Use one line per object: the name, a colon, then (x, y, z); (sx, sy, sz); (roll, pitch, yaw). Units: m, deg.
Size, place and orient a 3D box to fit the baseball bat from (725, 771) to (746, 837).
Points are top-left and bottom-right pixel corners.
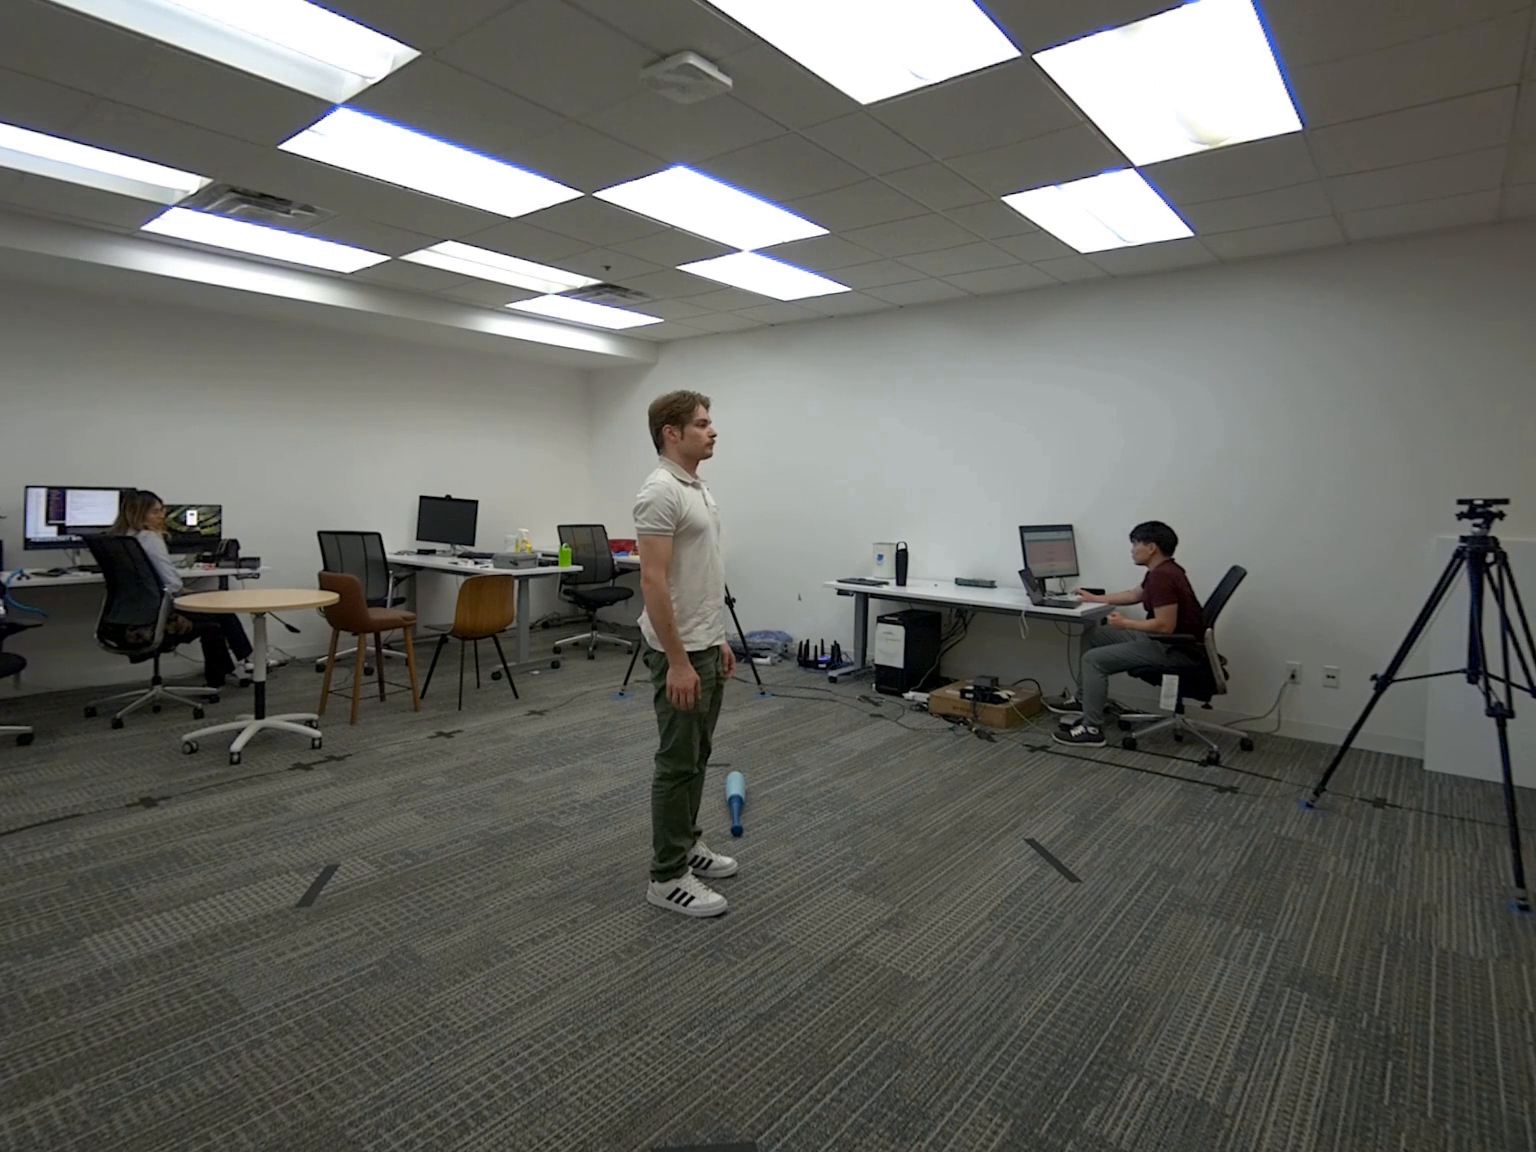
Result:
baseball bat: (-0.149, 0.981, 3.668); (0.089, 0.088, 0.547); (1, 9, -3)
